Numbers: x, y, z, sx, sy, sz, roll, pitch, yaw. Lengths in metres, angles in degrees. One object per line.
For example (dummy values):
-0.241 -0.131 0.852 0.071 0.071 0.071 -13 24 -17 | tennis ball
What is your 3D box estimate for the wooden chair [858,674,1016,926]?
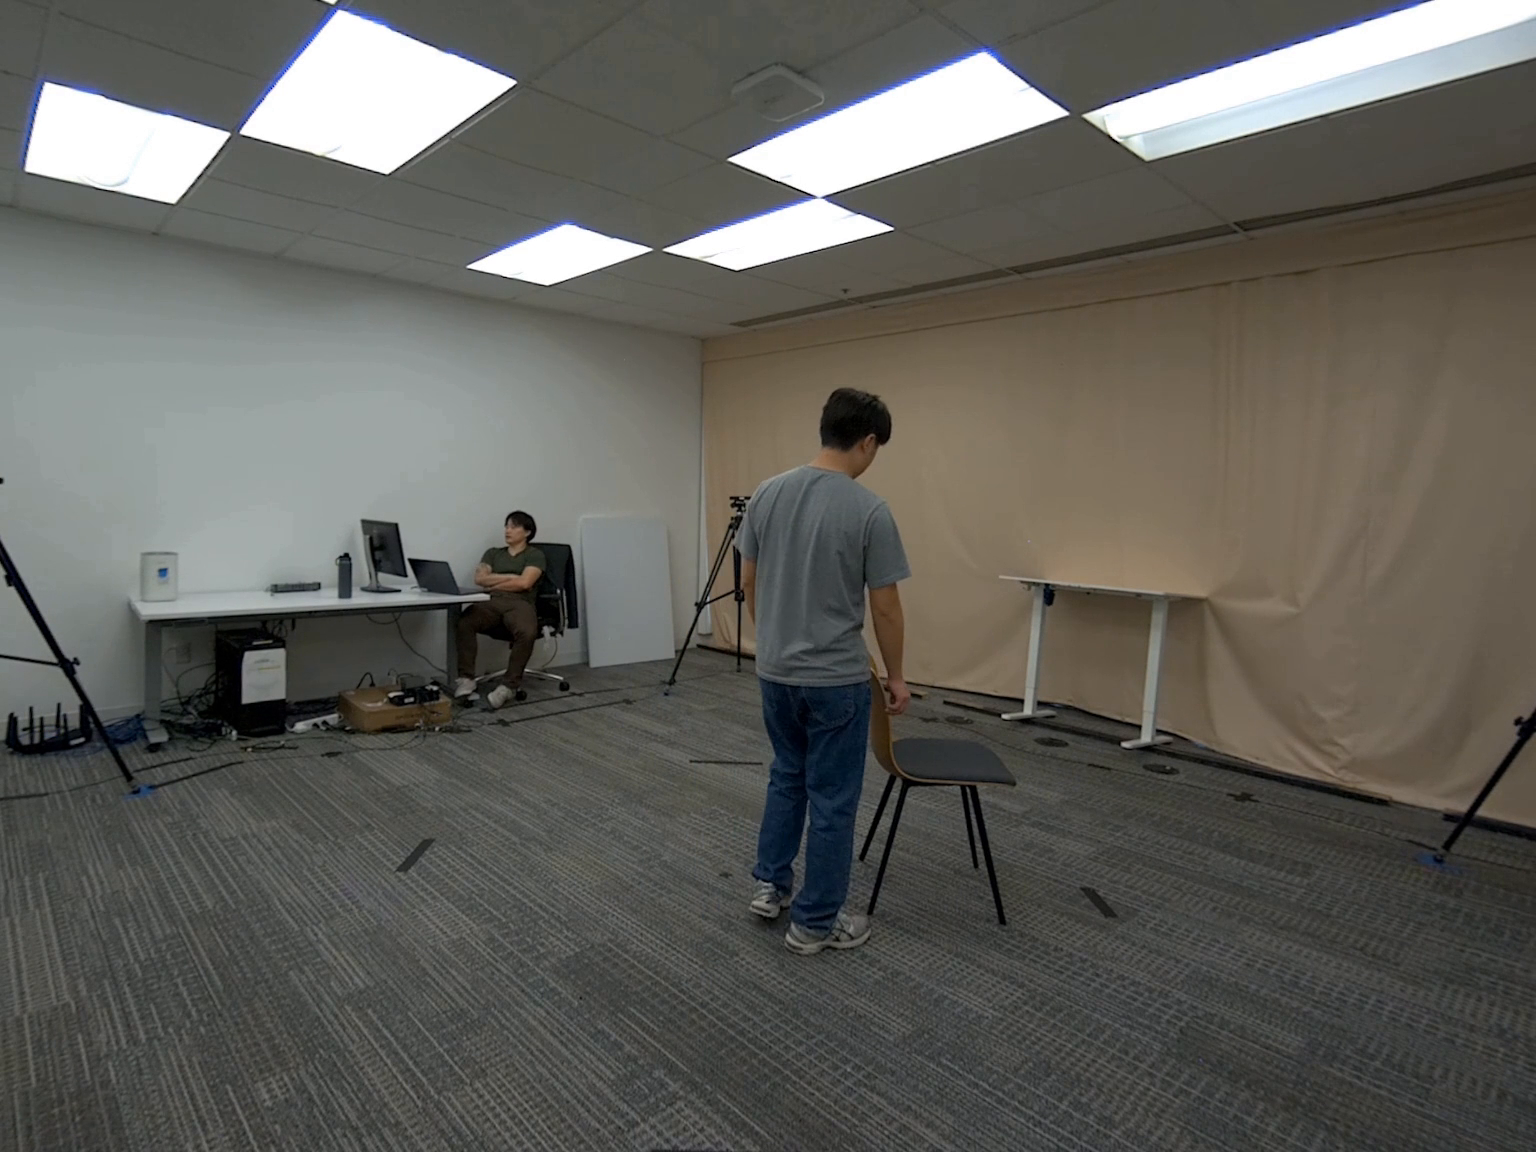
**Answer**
0.584 0.706 3.003 0.525 0.876 0.477 -2 3 4 | wooden chair
